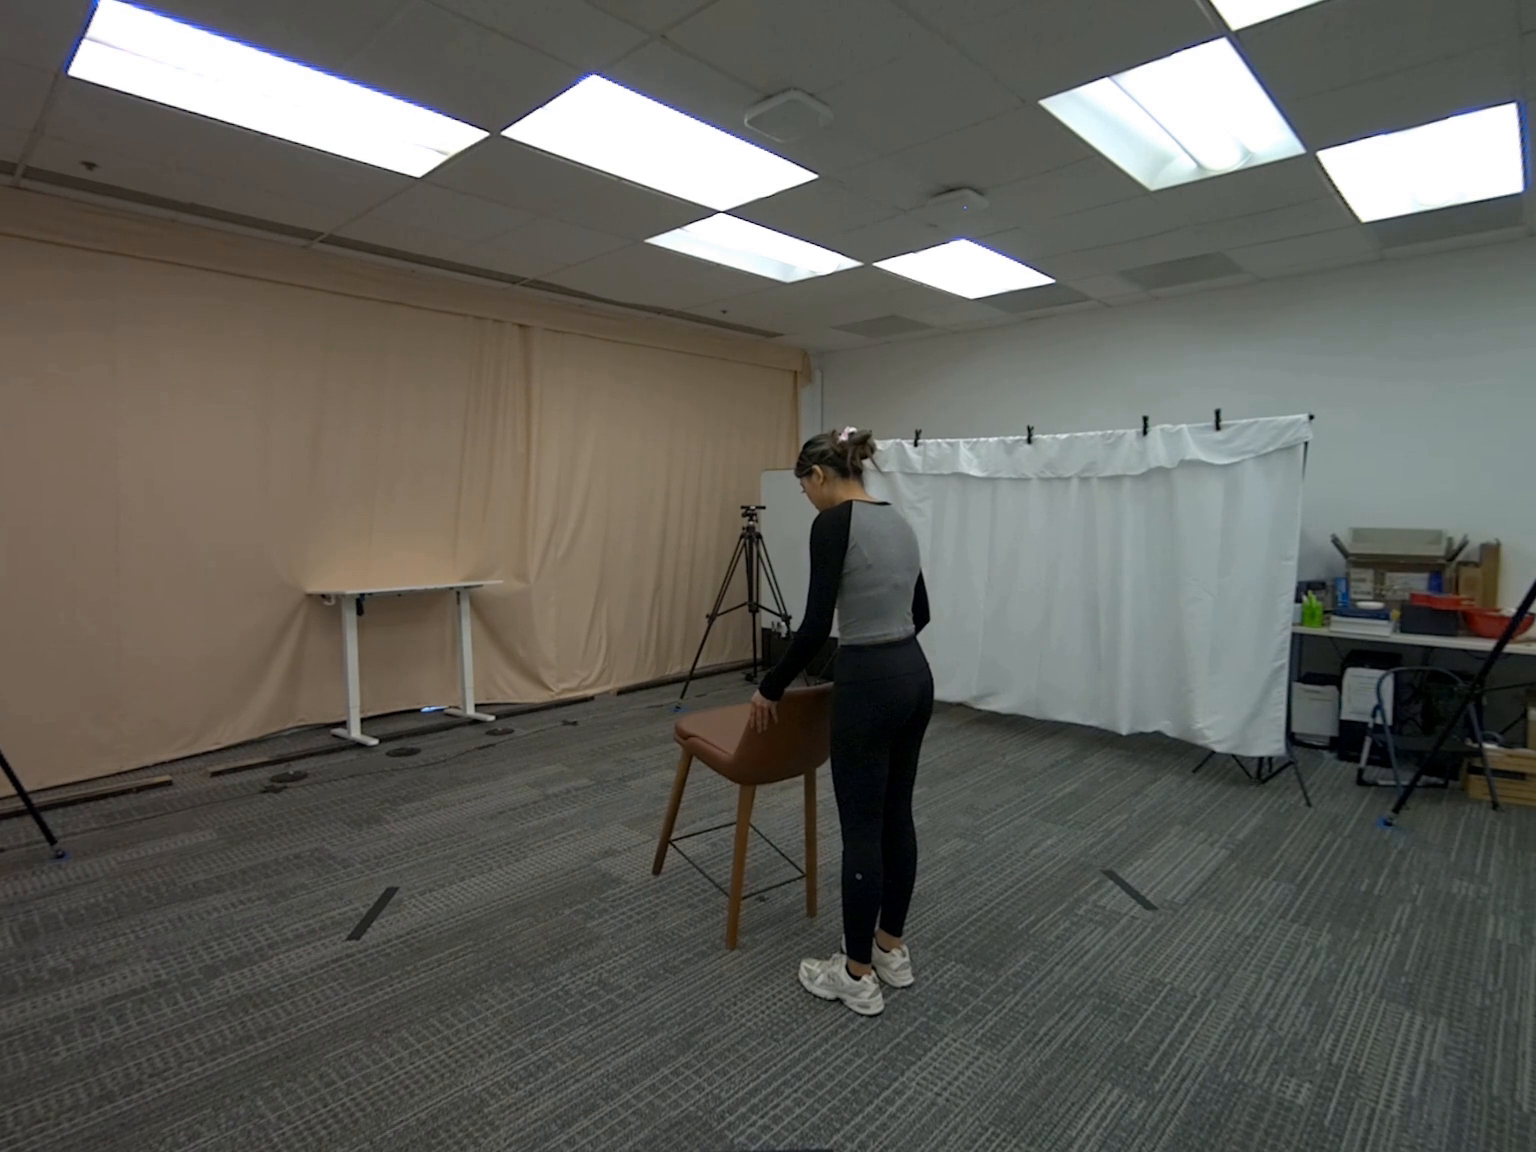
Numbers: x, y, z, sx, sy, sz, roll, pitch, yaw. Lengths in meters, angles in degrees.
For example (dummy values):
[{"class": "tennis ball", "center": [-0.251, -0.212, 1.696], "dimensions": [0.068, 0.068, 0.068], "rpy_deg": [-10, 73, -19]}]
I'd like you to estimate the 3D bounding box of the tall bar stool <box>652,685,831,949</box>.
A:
[{"class": "tall bar stool", "center": [-0.050, 0.689, 2.814], "dimensions": [0.443, 0.884, 0.485], "rpy_deg": [-2, 18, -38]}]
